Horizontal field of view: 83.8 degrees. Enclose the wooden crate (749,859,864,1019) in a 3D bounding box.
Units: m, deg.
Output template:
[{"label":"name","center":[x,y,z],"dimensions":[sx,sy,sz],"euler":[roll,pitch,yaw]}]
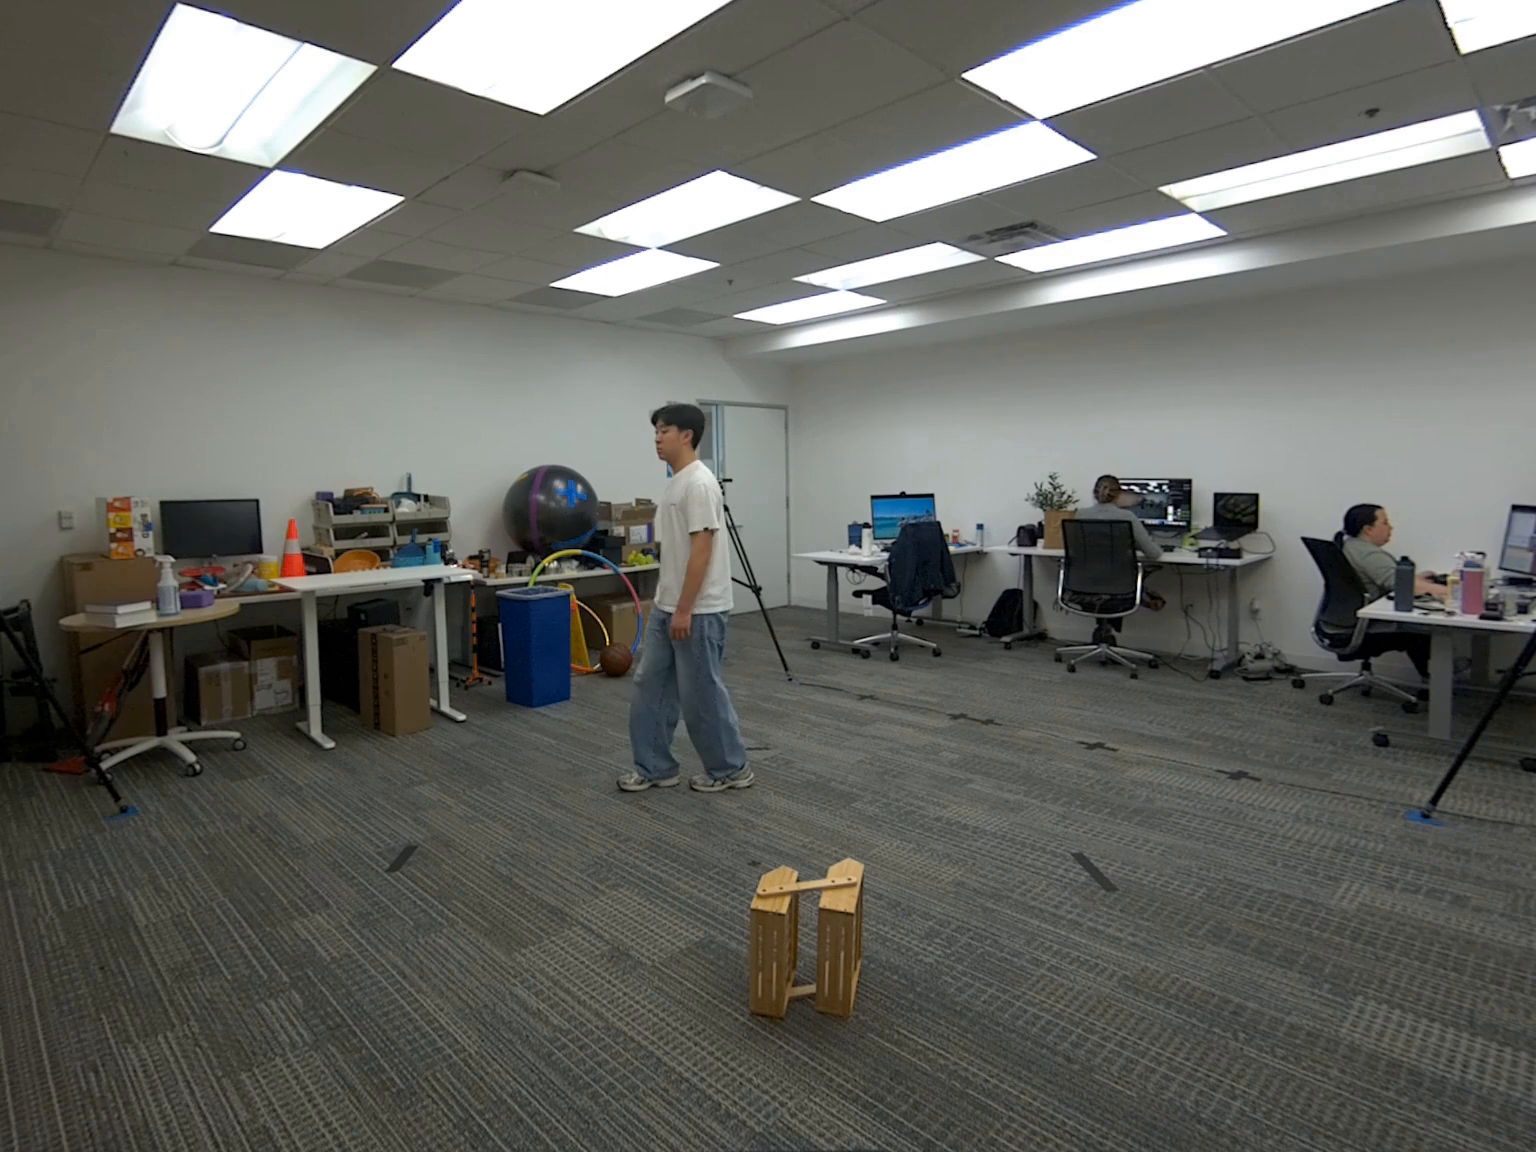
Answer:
[{"label":"wooden crate","center":[0.110,0.967,2.316],"dimensions":[0.277,0.321,0.300],"euler":[3,11,14]}]
